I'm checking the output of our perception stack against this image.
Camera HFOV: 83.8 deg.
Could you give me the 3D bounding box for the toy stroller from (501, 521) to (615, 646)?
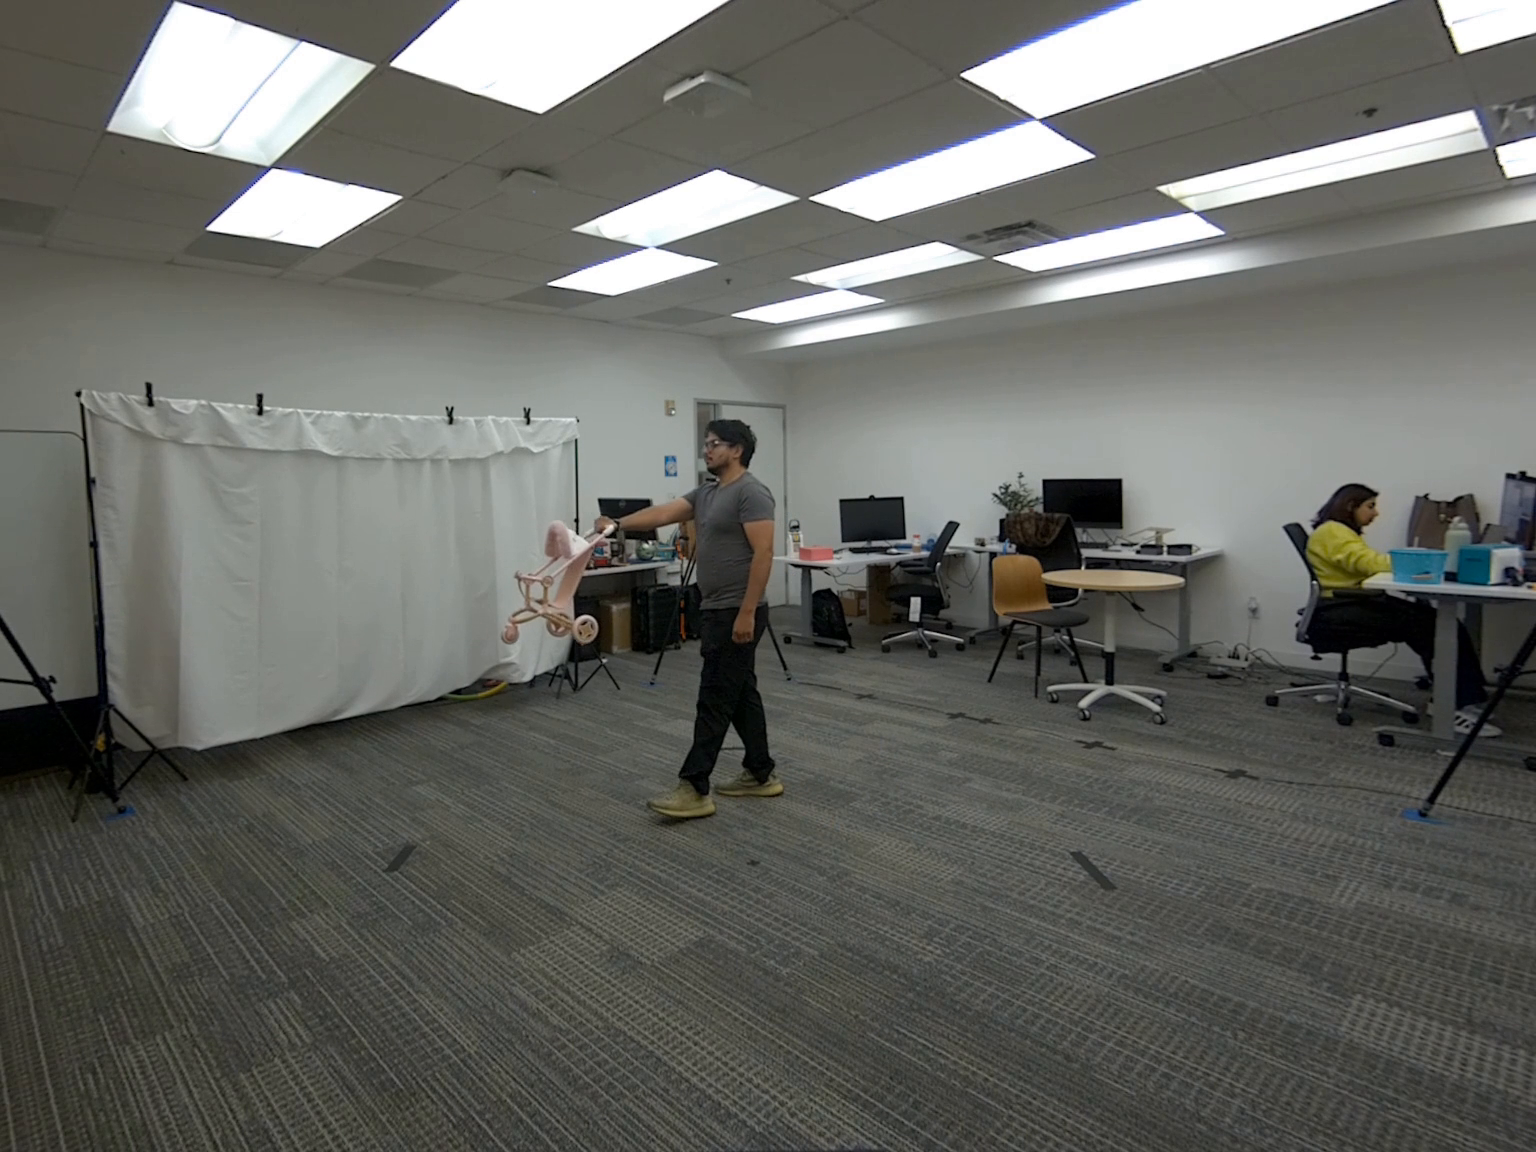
[{"bbox_3d":[-0.835,0.028,3.353,0.331,0.537,0.288,14,-7,-29],"label":"toy stroller"}]
